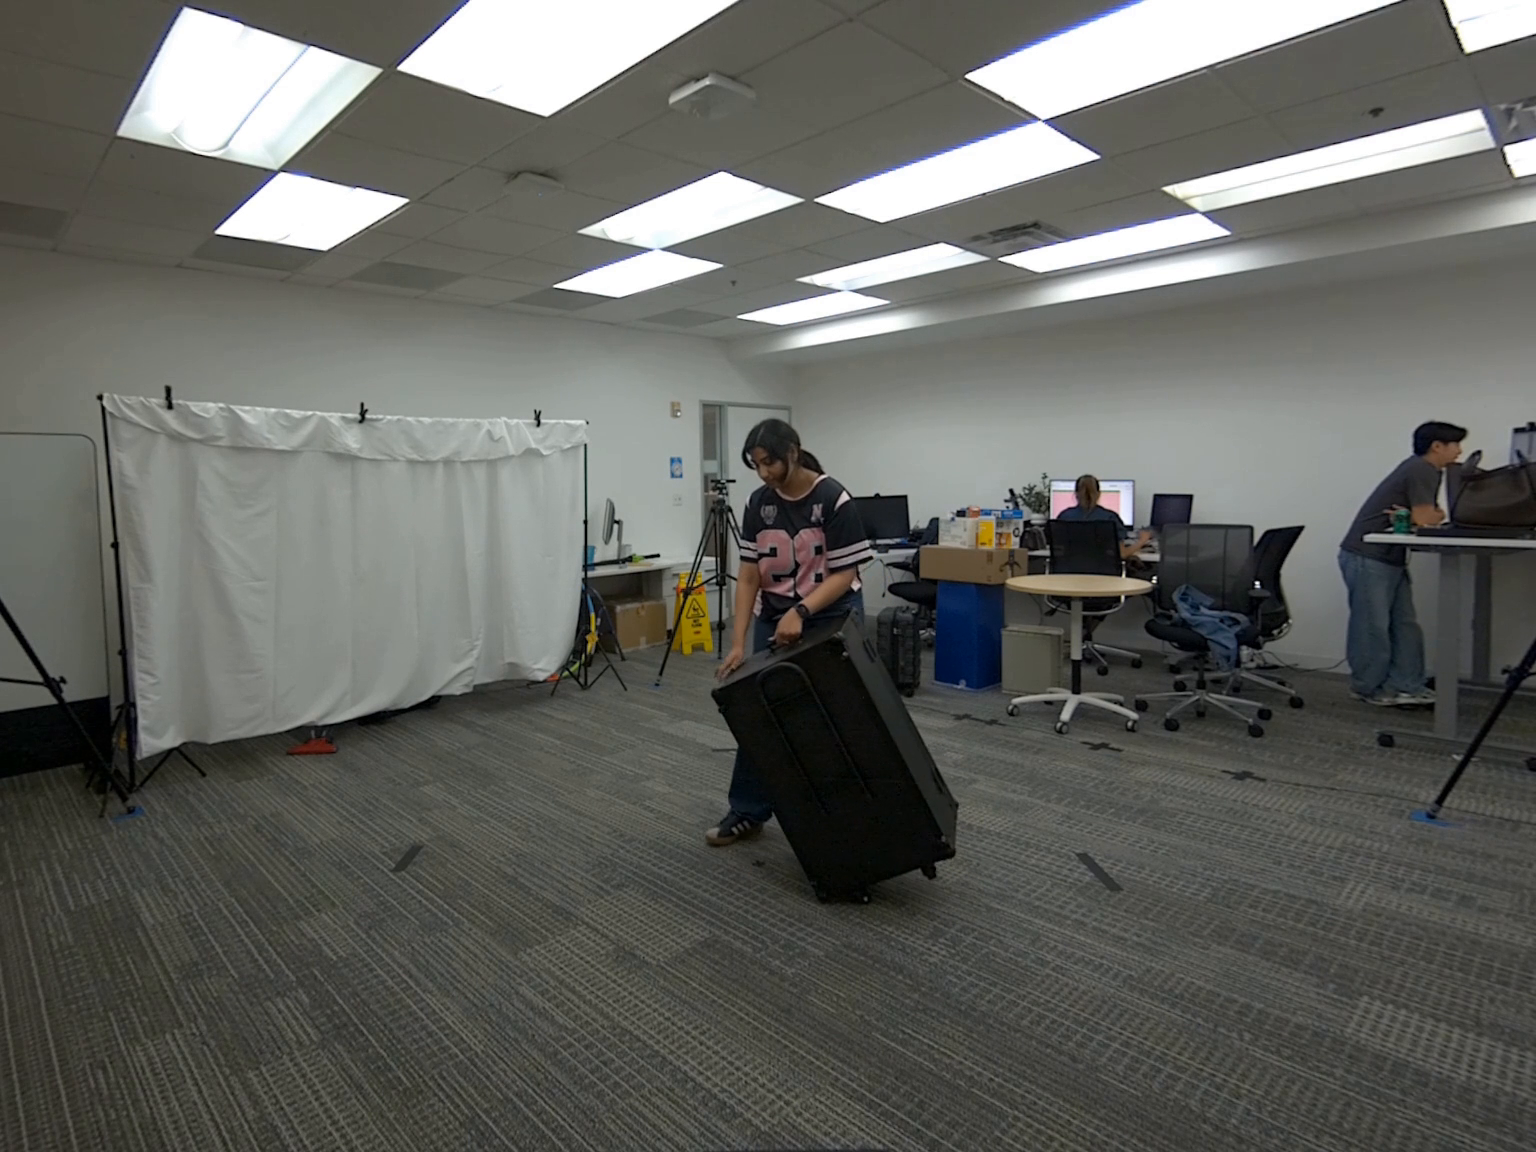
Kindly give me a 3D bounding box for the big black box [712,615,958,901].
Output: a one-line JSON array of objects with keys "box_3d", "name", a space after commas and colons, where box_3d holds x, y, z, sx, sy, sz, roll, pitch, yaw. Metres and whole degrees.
[{"box_3d": [0.259, 0.626, 2.884, 0.527, 0.869, 0.382, -28, 0, 16], "name": "big black box"}]
